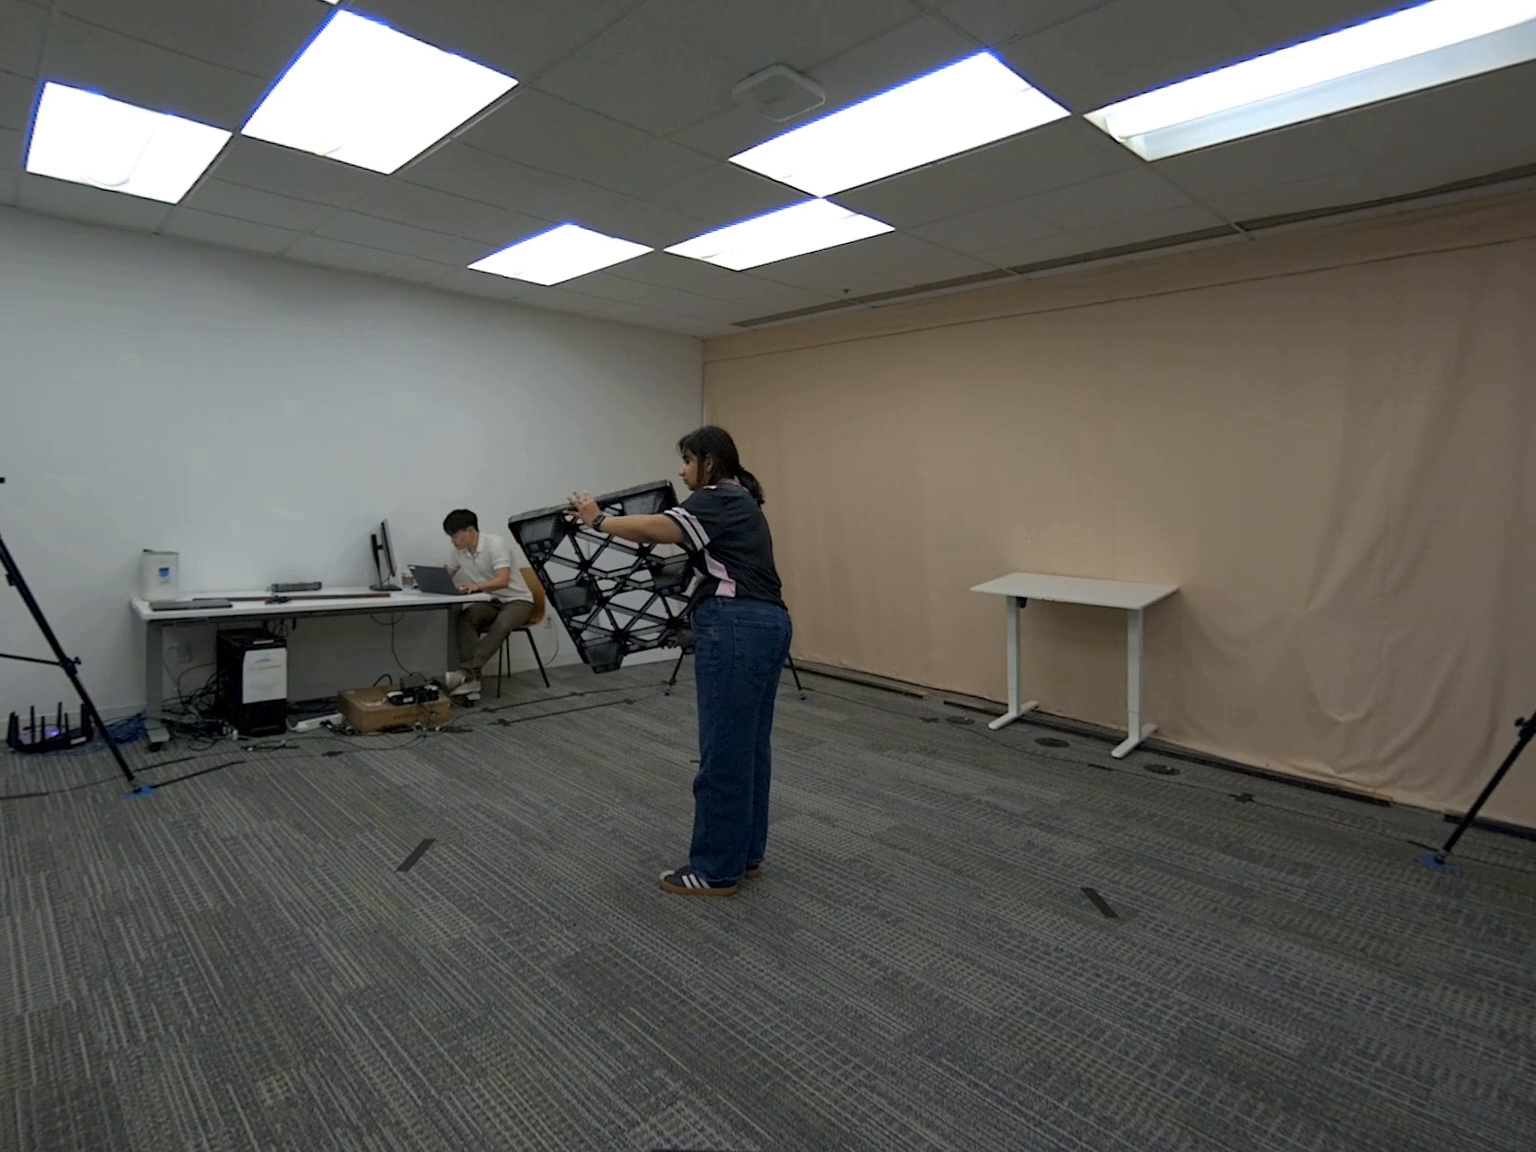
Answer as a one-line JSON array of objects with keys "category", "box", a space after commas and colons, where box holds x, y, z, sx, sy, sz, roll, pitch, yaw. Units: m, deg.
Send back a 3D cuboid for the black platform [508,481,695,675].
[{"category": "black platform", "box": [-0.549, 0.049, 3.150, 0.607, 0.783, 0.147, -12, 41, 6]}]
